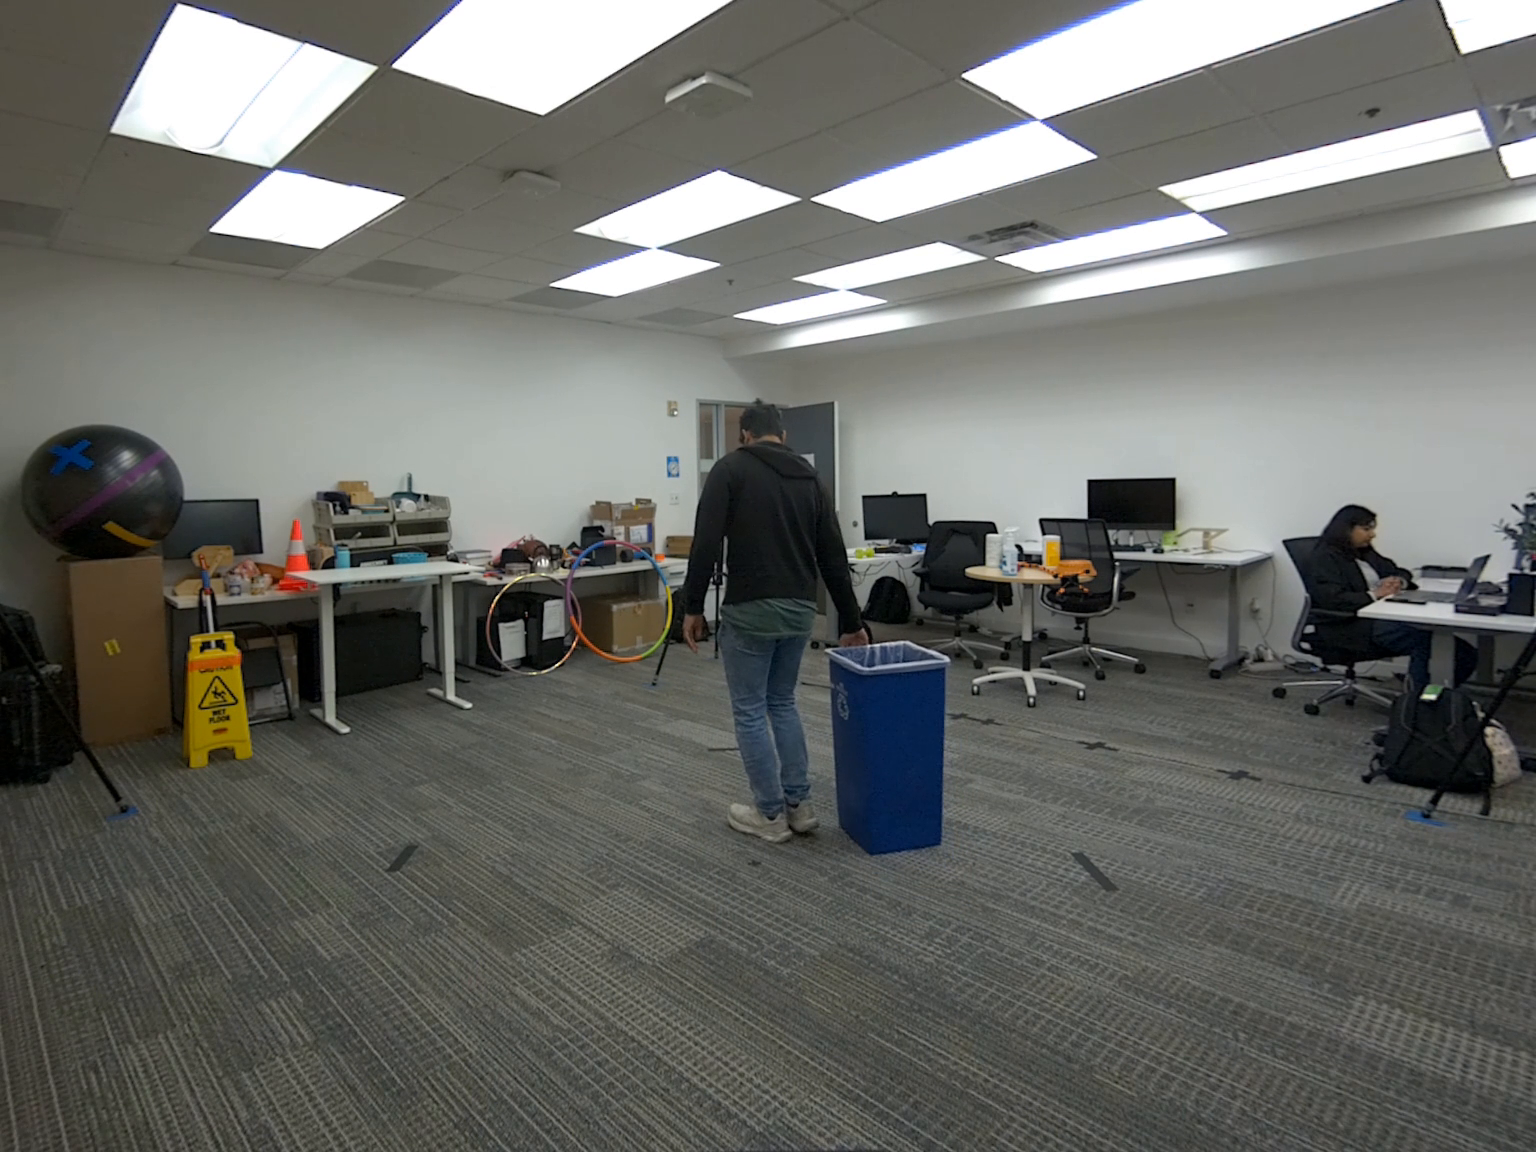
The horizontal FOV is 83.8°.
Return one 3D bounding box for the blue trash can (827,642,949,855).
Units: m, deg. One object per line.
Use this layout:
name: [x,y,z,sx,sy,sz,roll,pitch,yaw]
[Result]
blue trash can: [0.451,0.651,3.297,0.368,0.711,0.386,-2,5,-19]
